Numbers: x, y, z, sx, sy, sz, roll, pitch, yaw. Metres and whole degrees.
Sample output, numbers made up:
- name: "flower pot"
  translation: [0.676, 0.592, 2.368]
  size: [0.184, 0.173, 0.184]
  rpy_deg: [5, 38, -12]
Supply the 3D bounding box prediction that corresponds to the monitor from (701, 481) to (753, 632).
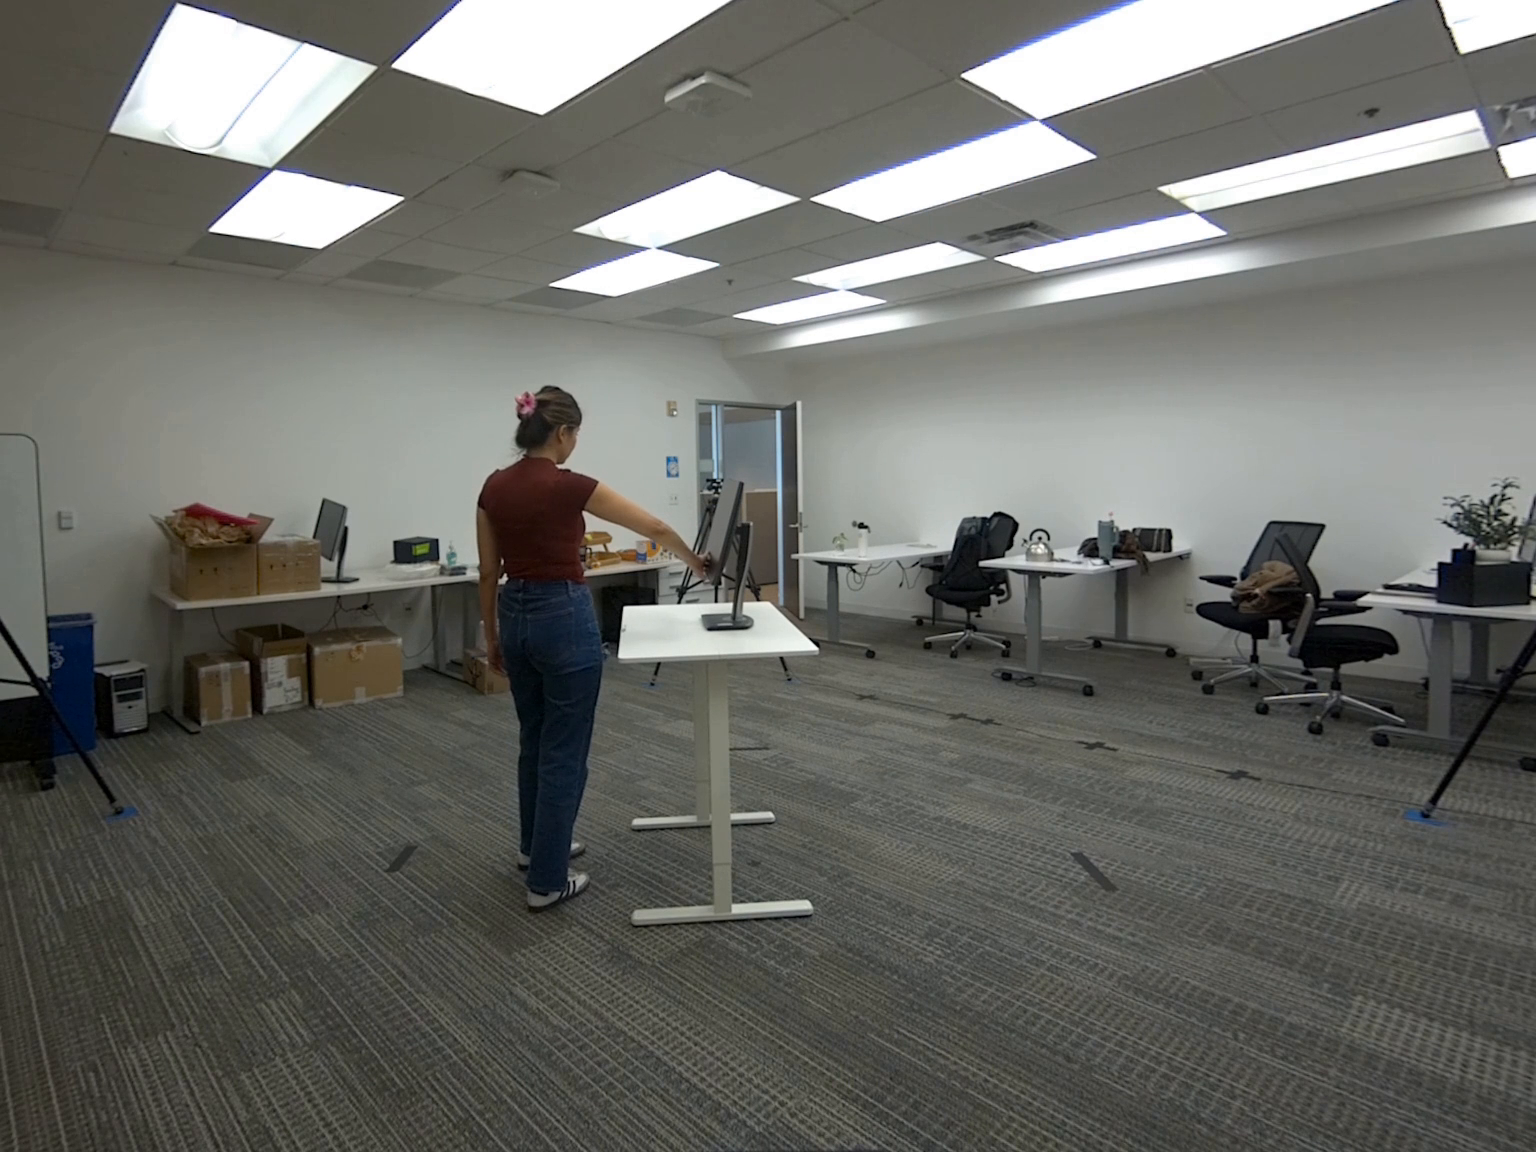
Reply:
- name: "monitor"
  translation: [-0.134, -0.081, 3.047]
  size: [0.185, 0.521, 0.545]
  rpy_deg: [2, 5, -9]
